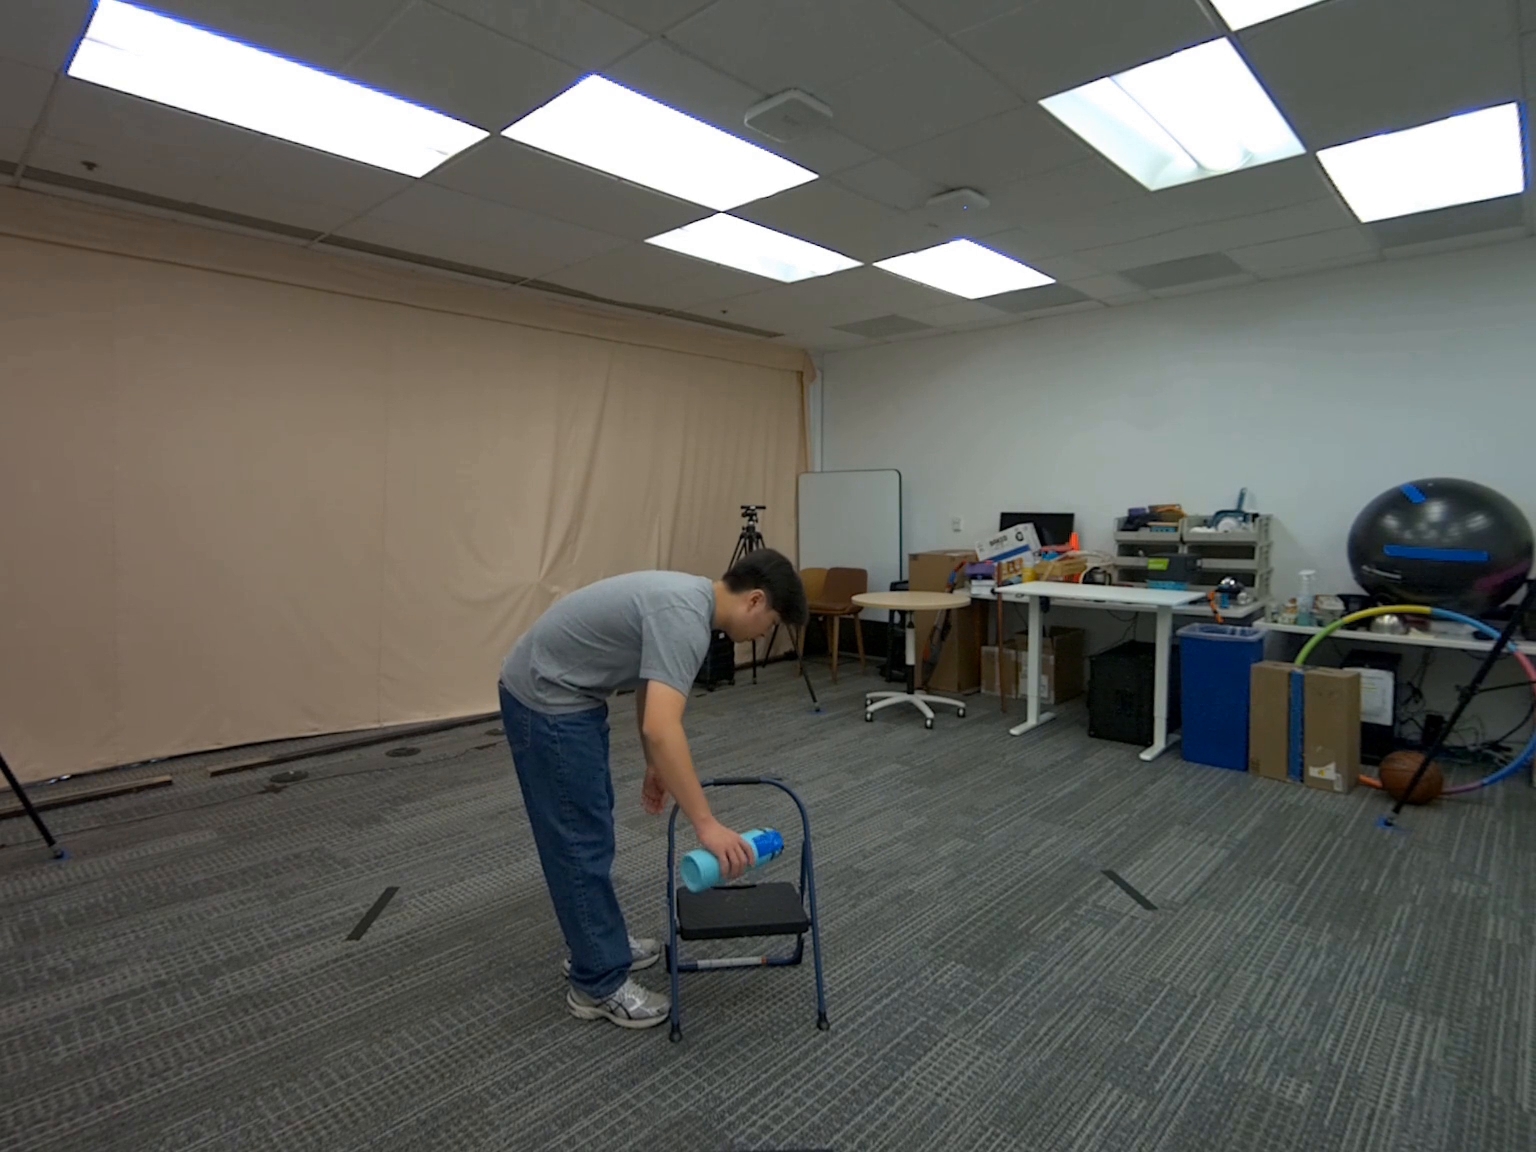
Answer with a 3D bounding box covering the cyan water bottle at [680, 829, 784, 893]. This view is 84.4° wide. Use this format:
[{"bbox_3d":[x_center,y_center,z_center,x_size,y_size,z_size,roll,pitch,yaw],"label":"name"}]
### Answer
[{"bbox_3d":[-0.078,0.685,2.057,0.275,0.092,0.095,-5,6,-39],"label":"cyan water bottle"}]
